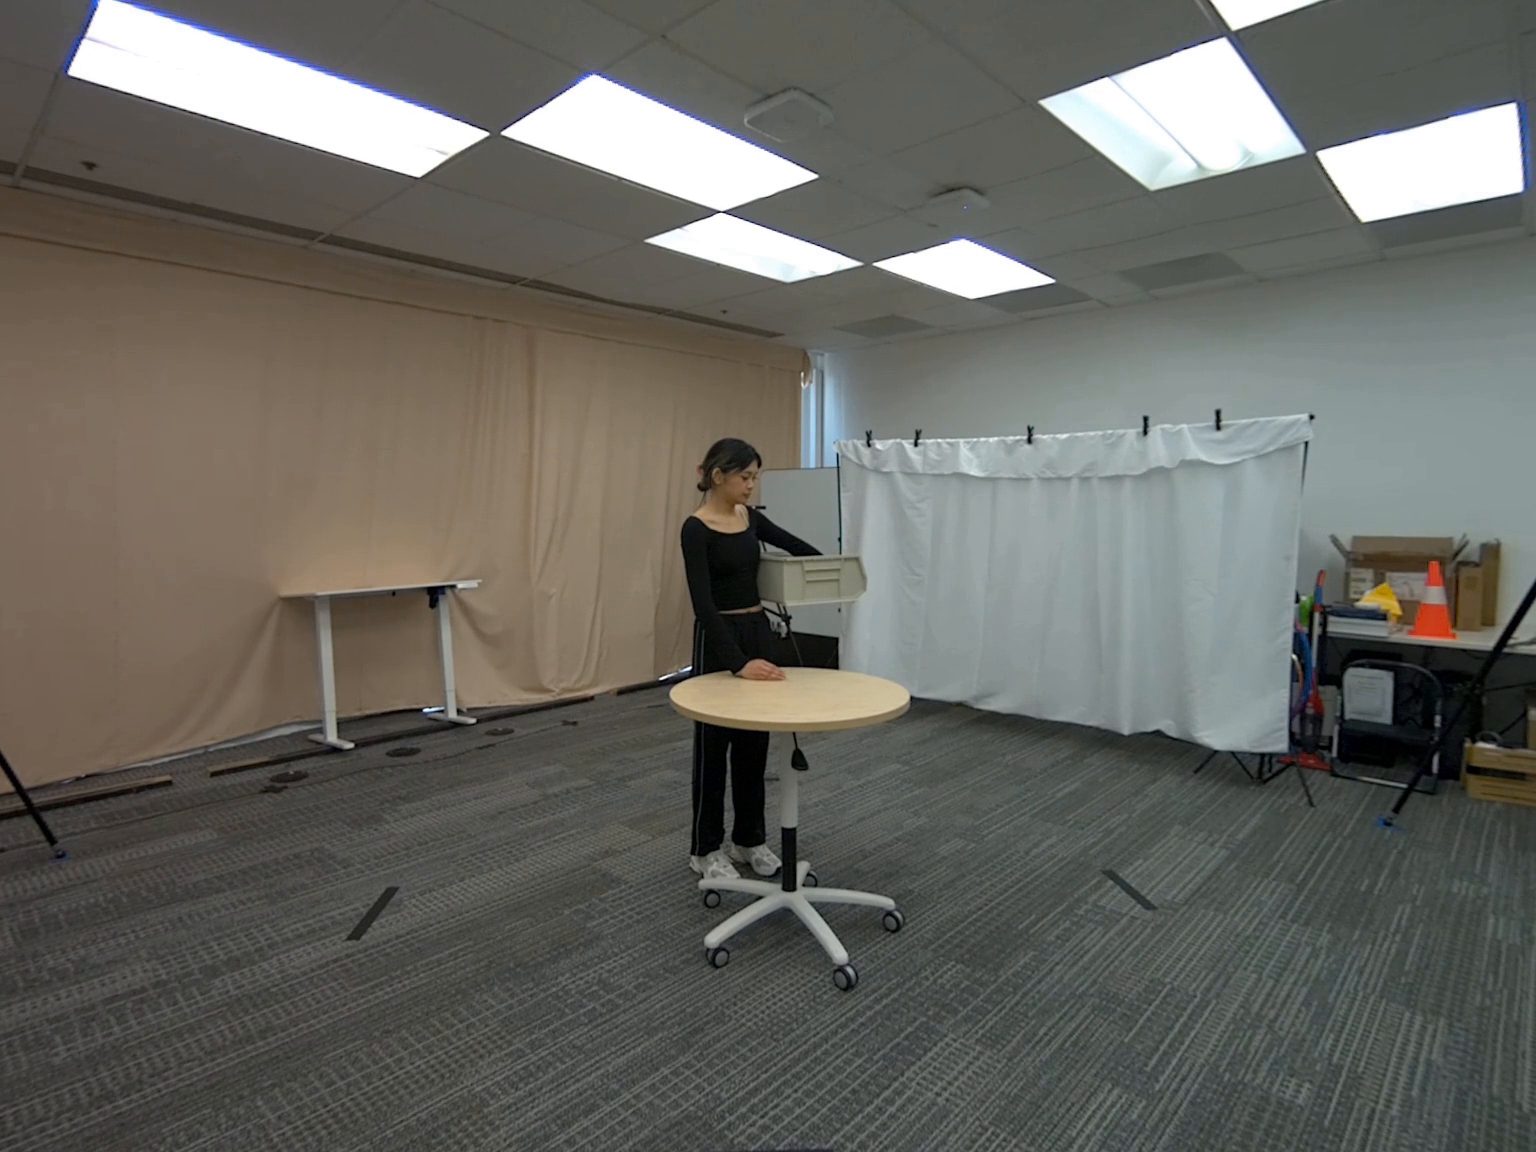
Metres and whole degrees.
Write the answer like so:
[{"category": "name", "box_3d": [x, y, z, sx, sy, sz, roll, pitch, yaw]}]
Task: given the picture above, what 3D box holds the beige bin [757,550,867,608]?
[{"category": "beige bin", "box_3d": [0.121, 0.006, 3.314, 0.367, 0.188, 0.434, -3, 4, -29]}]
